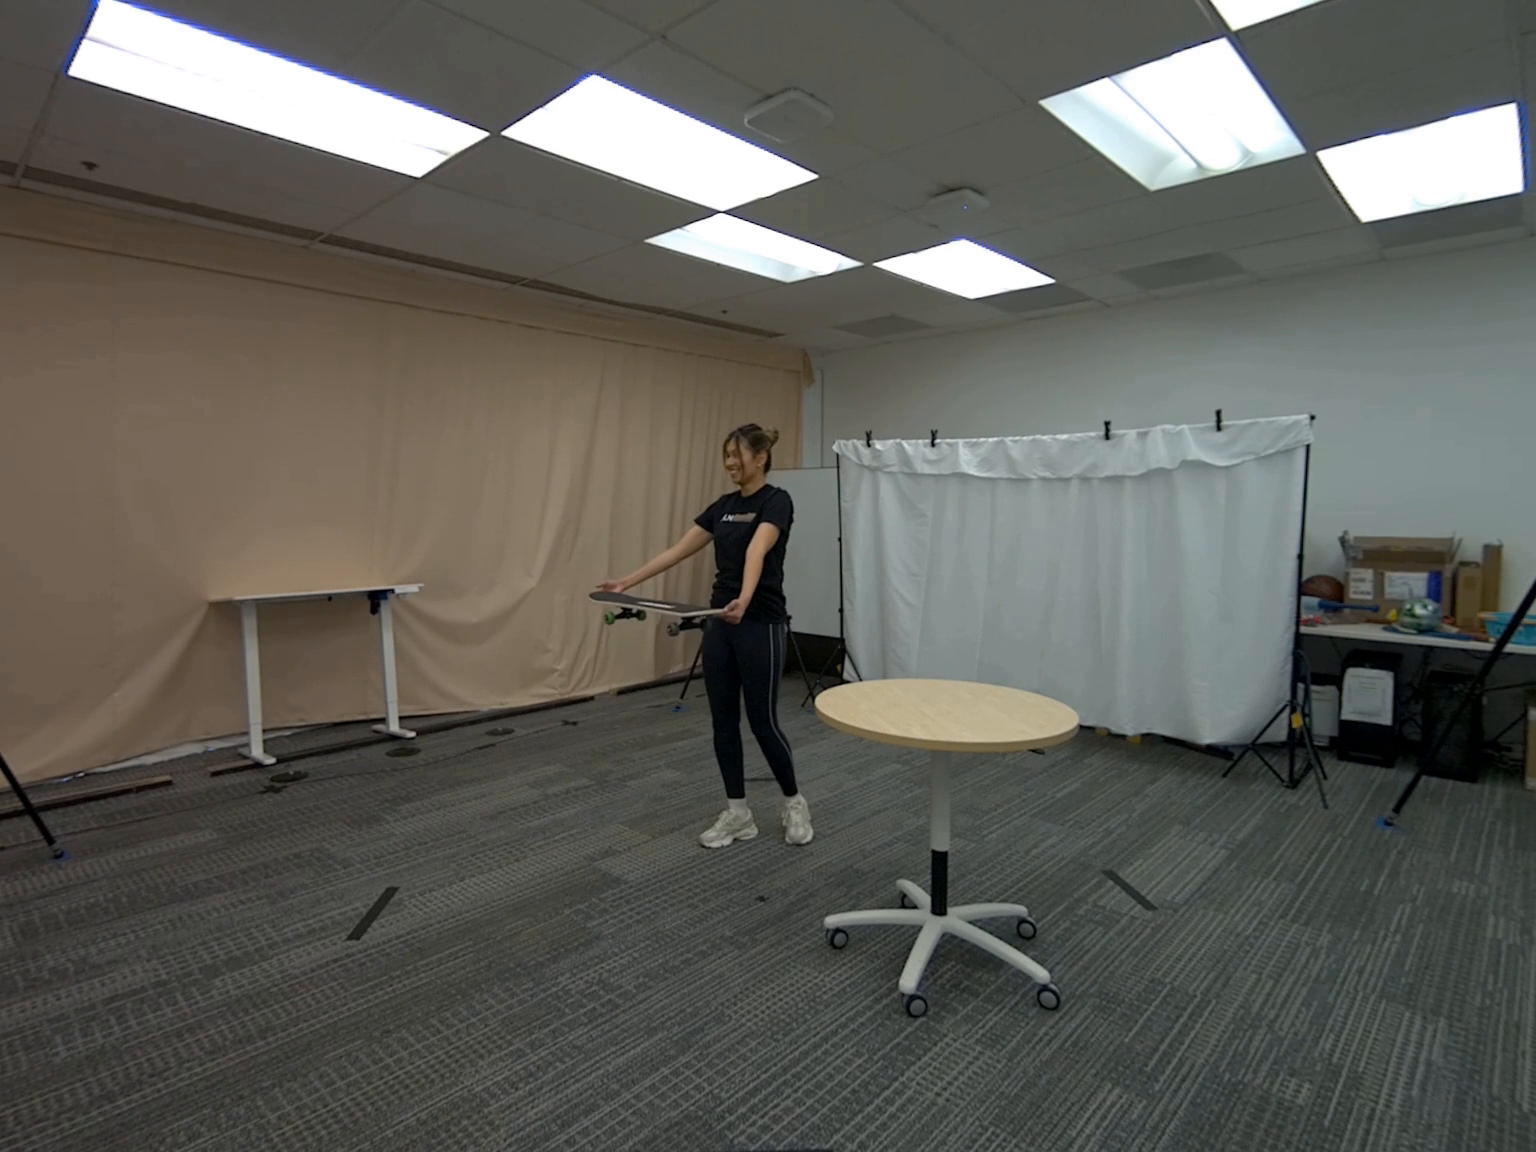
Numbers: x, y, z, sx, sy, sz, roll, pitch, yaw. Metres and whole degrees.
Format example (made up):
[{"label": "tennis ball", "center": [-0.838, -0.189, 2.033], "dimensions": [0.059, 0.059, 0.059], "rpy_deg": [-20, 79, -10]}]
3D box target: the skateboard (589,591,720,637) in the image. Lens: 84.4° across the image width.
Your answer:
[{"label": "skateboard", "center": [-0.423, 0.142, 3.214], "dimensions": [0.187, 0.110, 0.812], "rpy_deg": [-4, 6, -43]}]
